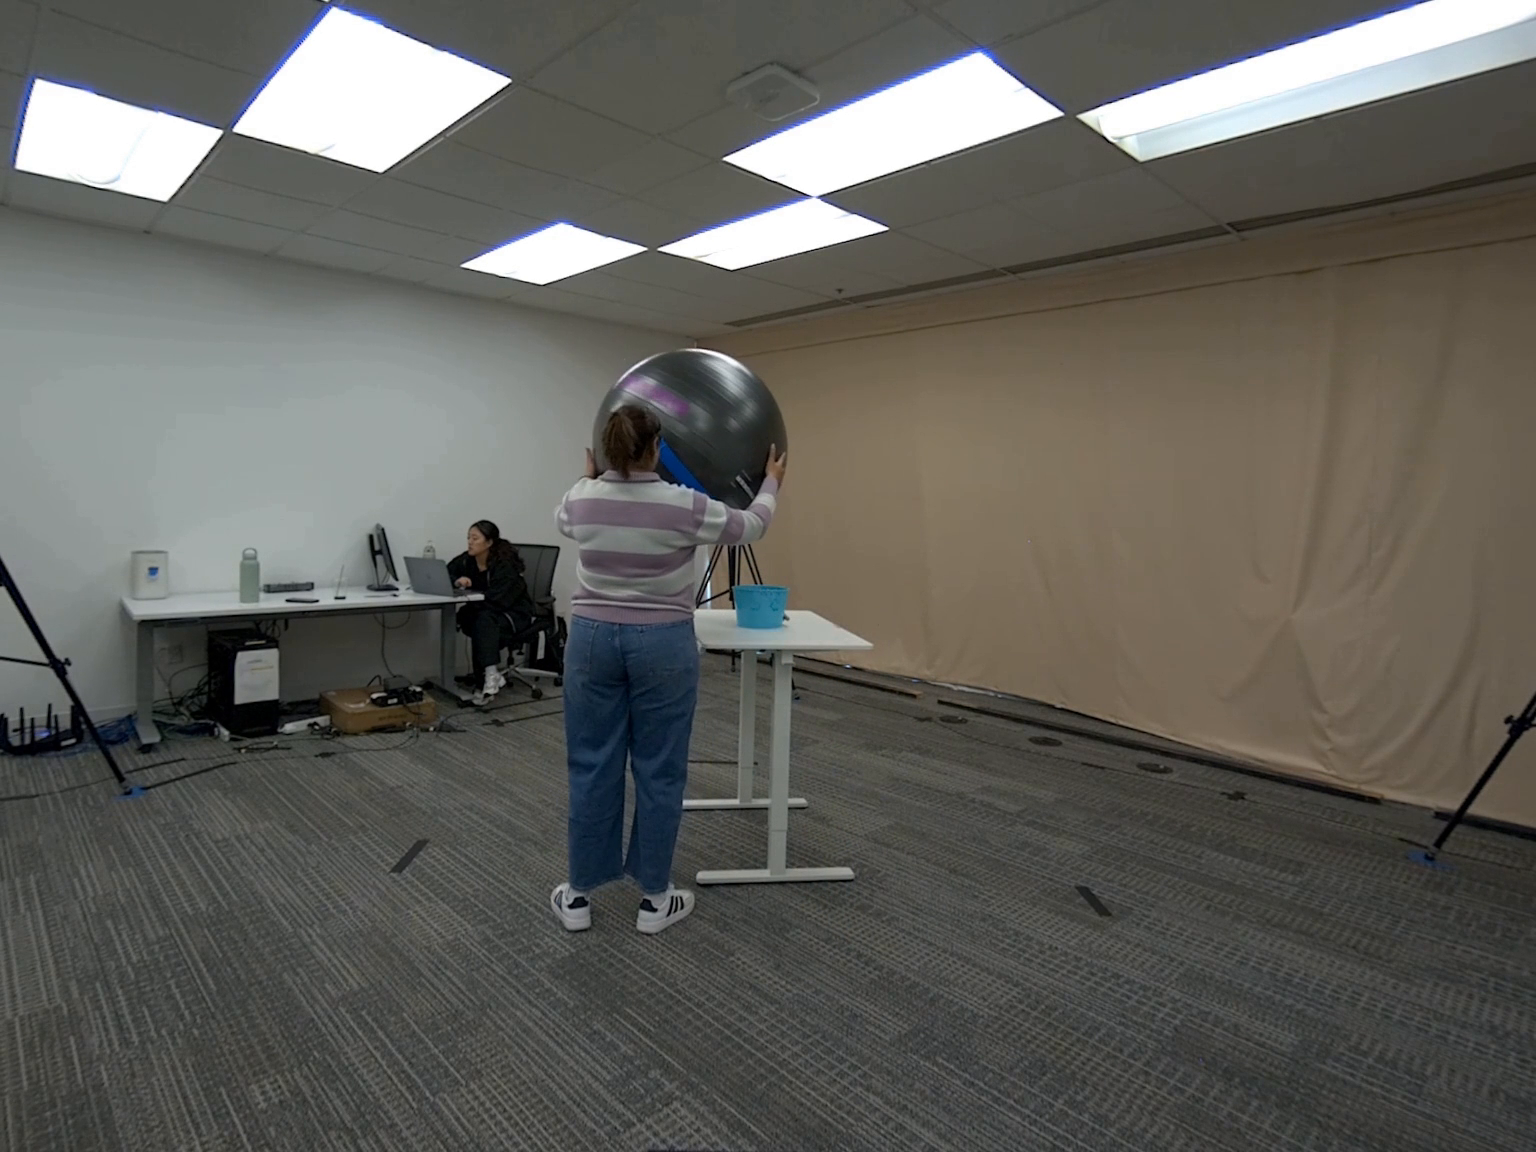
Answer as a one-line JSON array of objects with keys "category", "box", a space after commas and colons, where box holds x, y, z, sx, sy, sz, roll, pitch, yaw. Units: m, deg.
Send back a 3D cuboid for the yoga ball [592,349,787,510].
[{"category": "yoga ball", "box": [-0.311, -0.490, 3.288, 0.757, 0.756, 0.761, 1, 4, -1]}]
